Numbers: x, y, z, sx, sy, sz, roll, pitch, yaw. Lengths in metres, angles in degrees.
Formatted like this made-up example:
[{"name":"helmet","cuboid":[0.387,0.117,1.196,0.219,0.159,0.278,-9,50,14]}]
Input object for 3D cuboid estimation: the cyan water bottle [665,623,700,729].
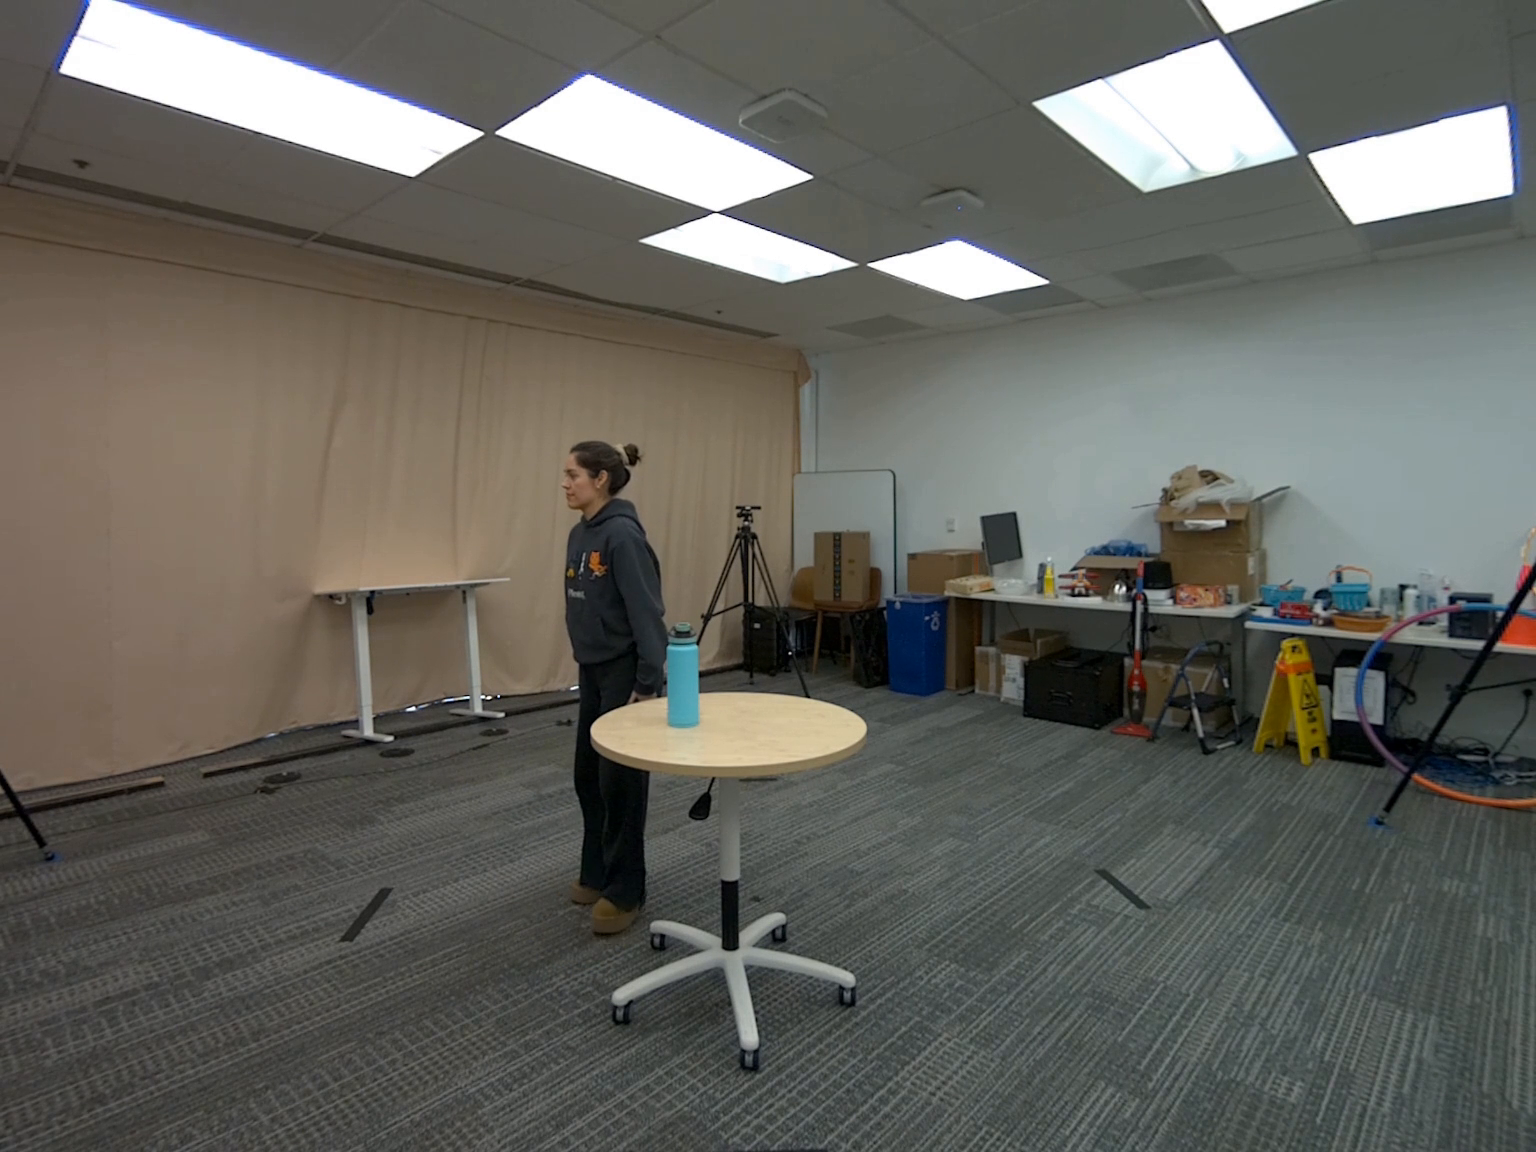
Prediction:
[{"name":"cyan water bottle","cuboid":[-0.230,0.280,2.351,0.092,0.283,0.092,-3,2,-2]}]
